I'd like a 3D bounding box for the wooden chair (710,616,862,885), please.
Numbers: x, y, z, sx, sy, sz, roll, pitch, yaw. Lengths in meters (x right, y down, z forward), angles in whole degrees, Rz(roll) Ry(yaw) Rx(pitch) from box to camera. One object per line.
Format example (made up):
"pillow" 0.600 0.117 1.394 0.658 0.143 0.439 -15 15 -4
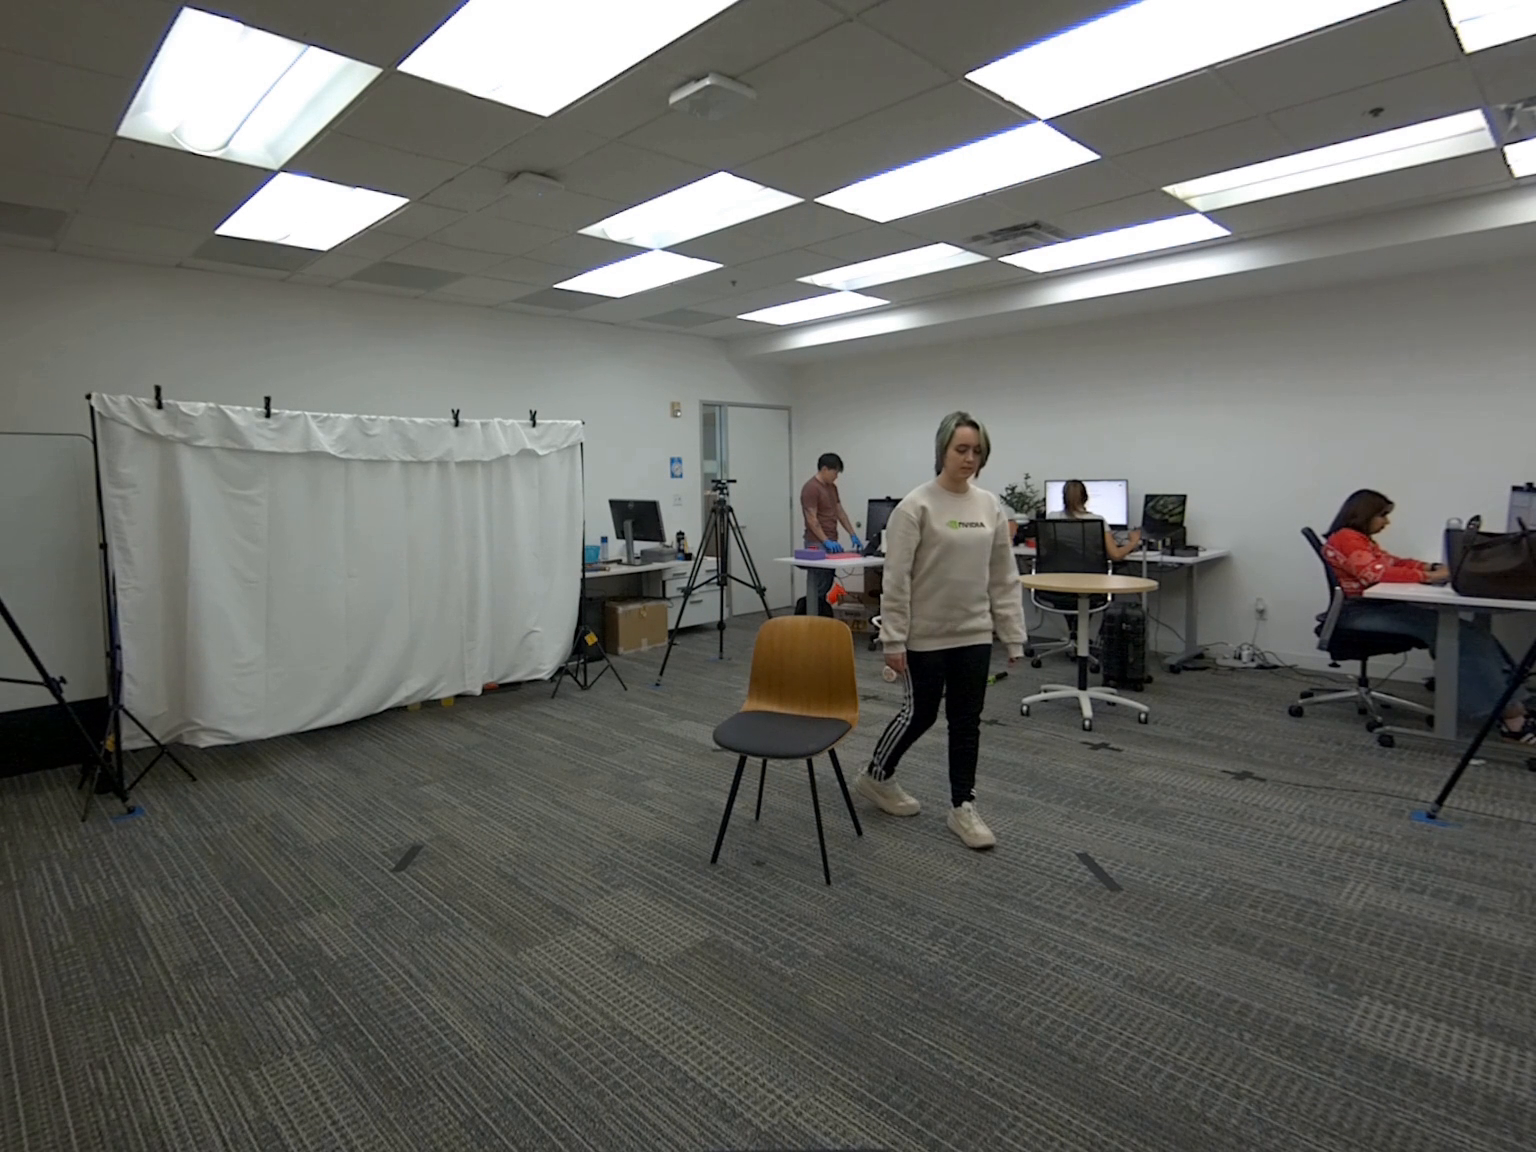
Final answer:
"wooden chair" 0.075 0.608 3.183 0.488 0.877 0.512 1 0 23
